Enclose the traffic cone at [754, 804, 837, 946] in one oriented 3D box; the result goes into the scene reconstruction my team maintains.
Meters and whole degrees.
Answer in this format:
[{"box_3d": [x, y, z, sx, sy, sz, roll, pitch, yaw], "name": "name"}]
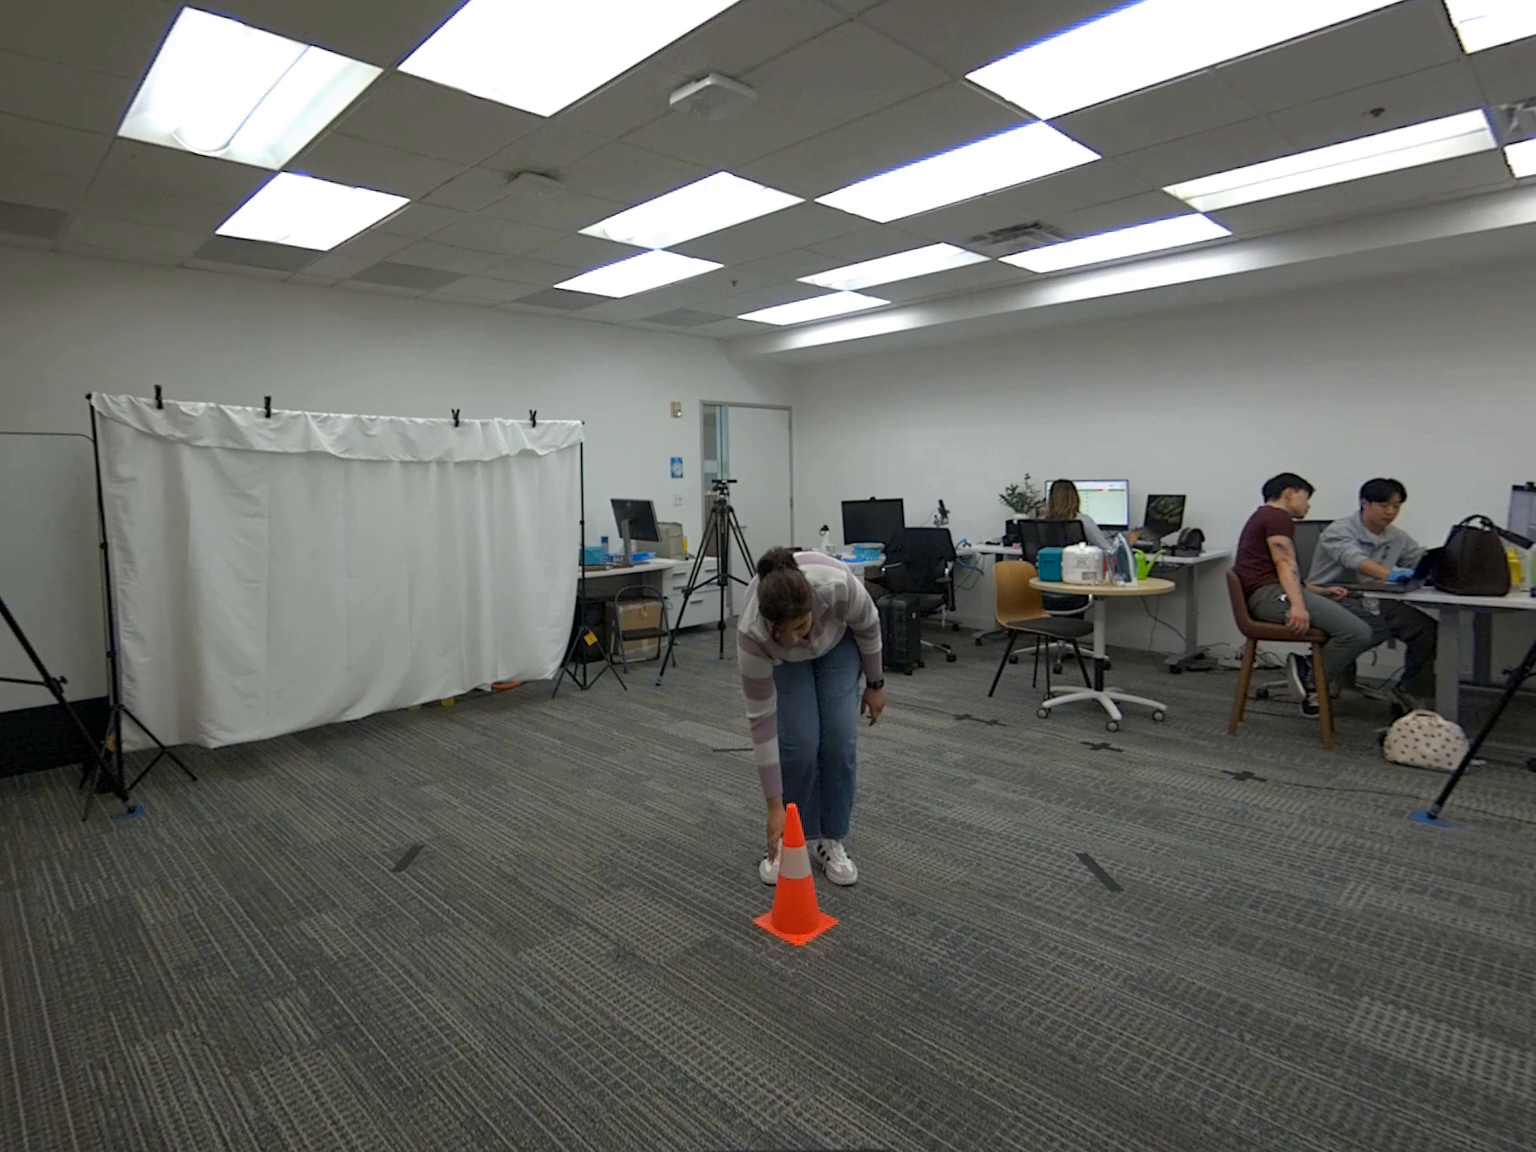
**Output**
[{"box_3d": [0.087, 0.911, 2.681, 0.211, 0.382, 0.198, 3, 6, 44], "name": "traffic cone"}]
